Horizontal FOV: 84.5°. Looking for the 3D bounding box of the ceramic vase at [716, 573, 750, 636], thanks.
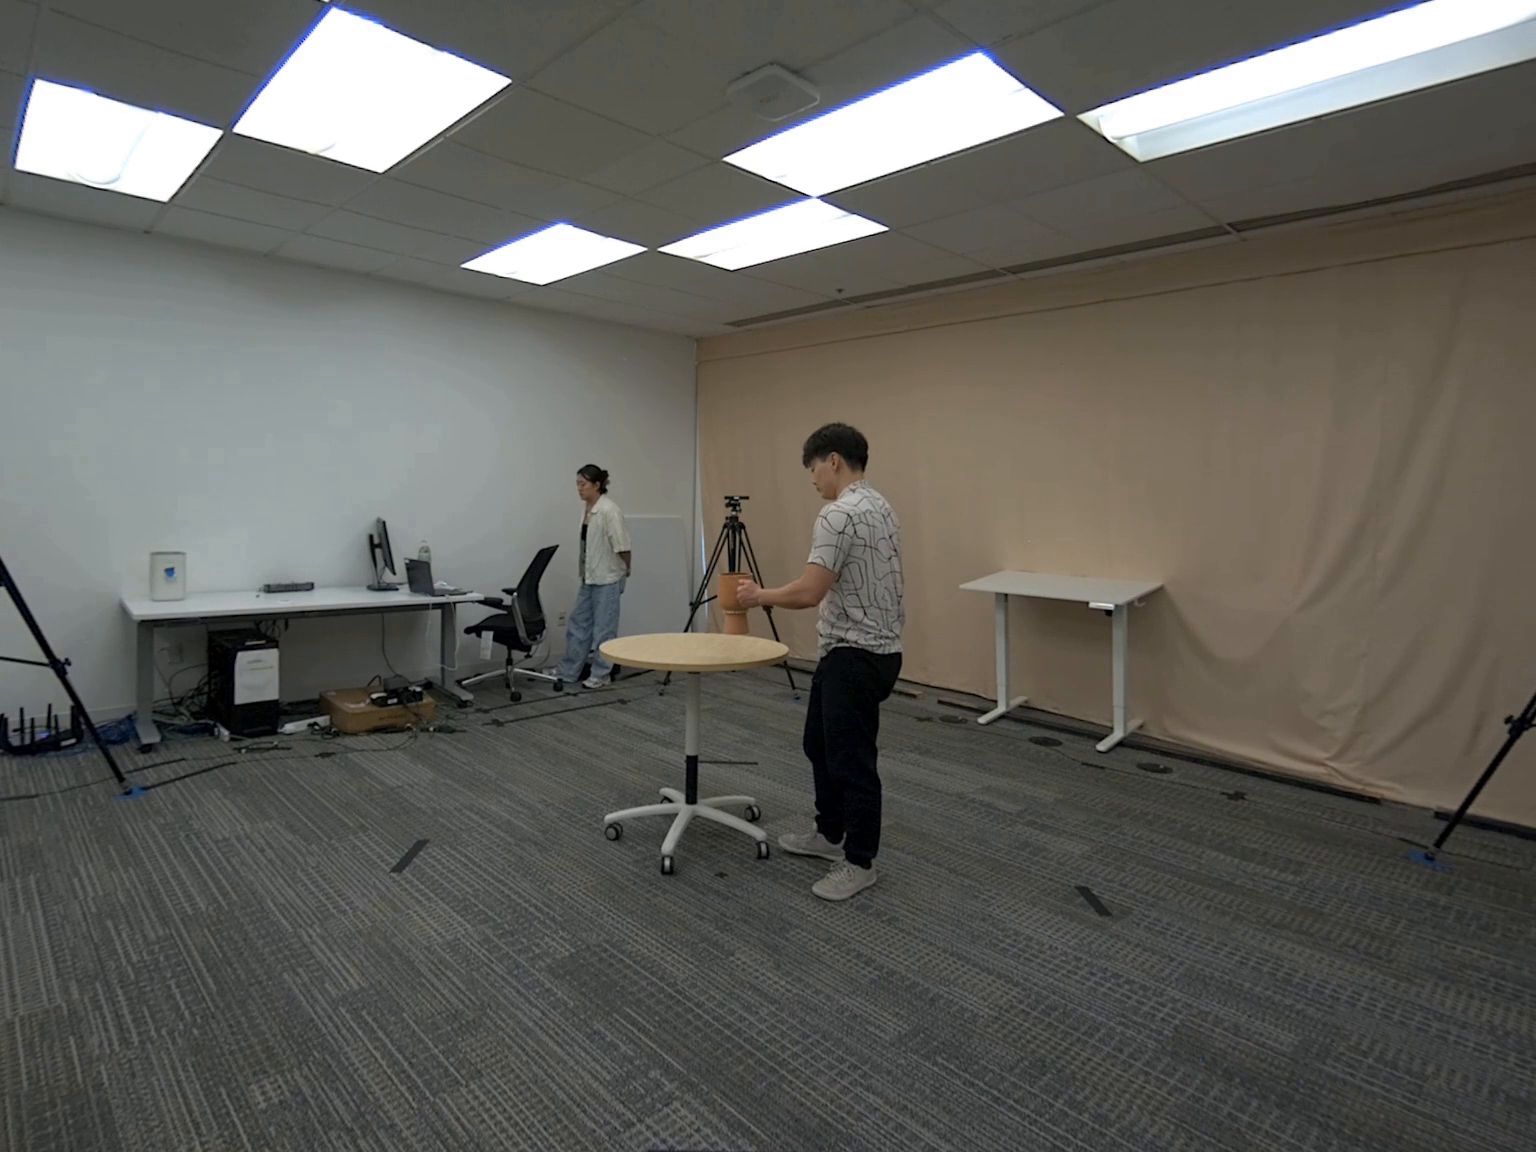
[{"bbox_3d":[-0.118,0.104,3.133,0.136,0.220,0.157,-1,1,15],"label":"ceramic vase"}]
